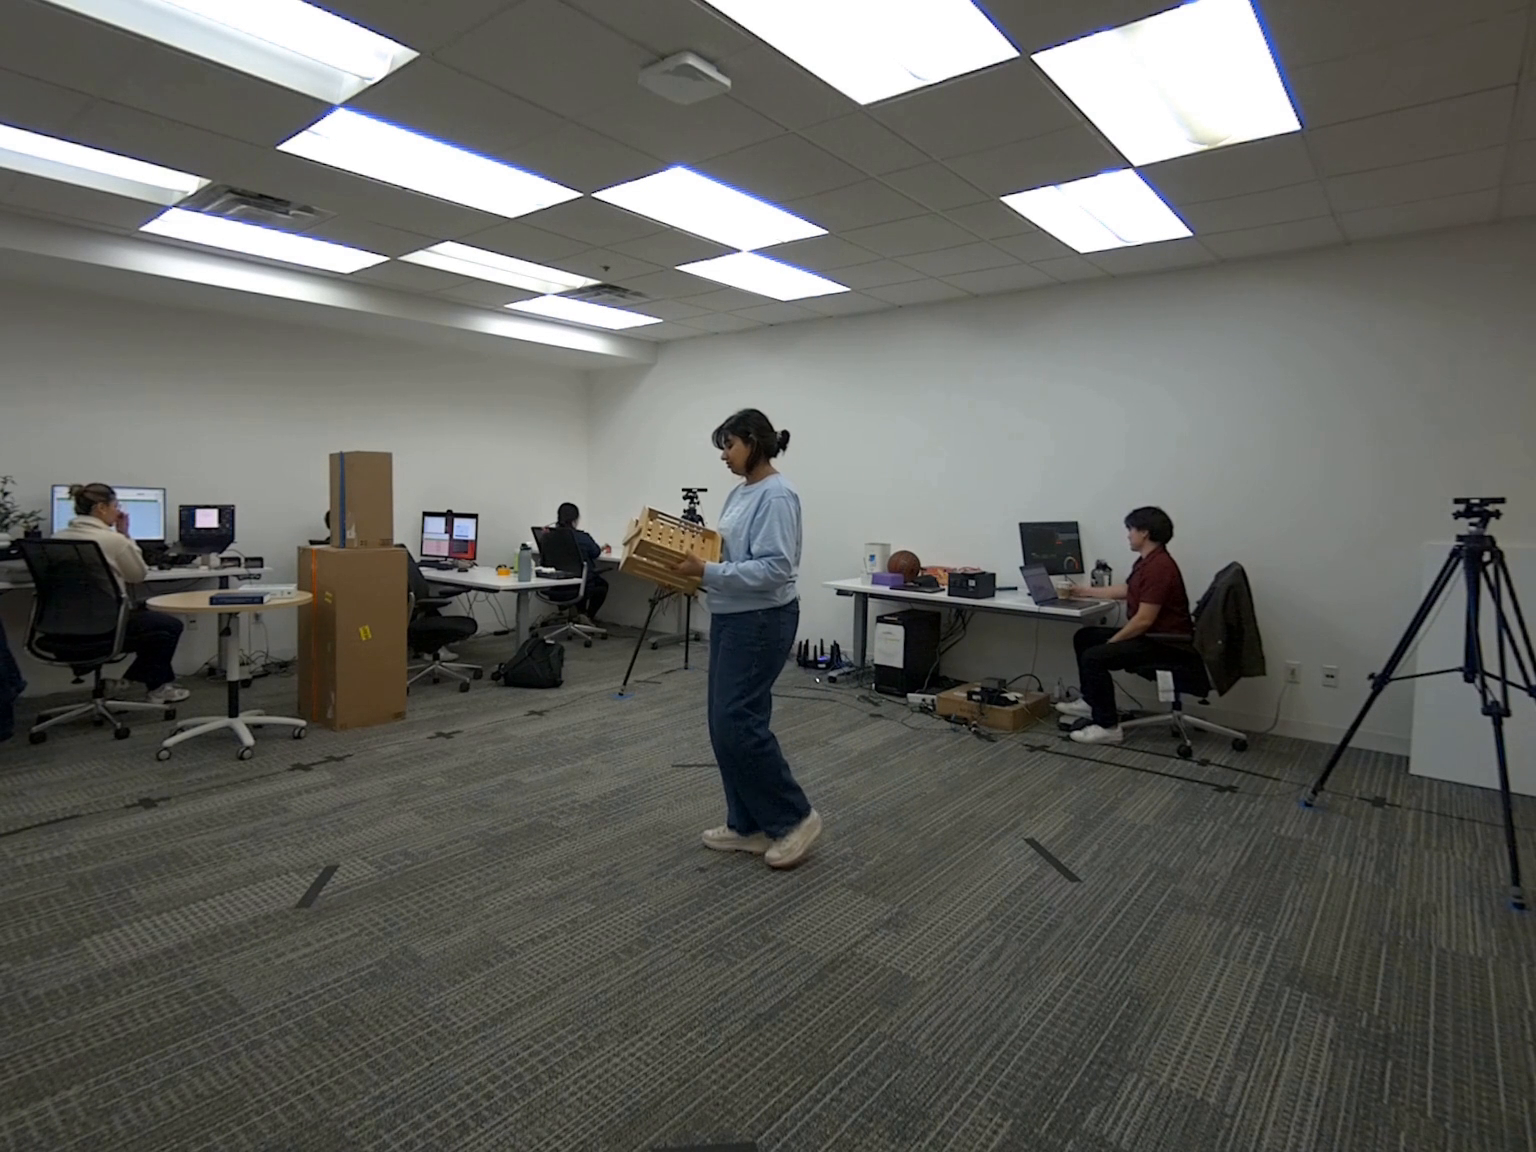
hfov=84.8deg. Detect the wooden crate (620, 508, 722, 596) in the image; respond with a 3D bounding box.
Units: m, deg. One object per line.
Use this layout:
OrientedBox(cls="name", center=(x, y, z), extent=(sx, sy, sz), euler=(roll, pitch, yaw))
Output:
OrientedBox(cls="wooden crate", center=(-0.374, -0.125, 3.209), extent=(0.318, 0.310, 0.272), euler=(20, -44, -15))
